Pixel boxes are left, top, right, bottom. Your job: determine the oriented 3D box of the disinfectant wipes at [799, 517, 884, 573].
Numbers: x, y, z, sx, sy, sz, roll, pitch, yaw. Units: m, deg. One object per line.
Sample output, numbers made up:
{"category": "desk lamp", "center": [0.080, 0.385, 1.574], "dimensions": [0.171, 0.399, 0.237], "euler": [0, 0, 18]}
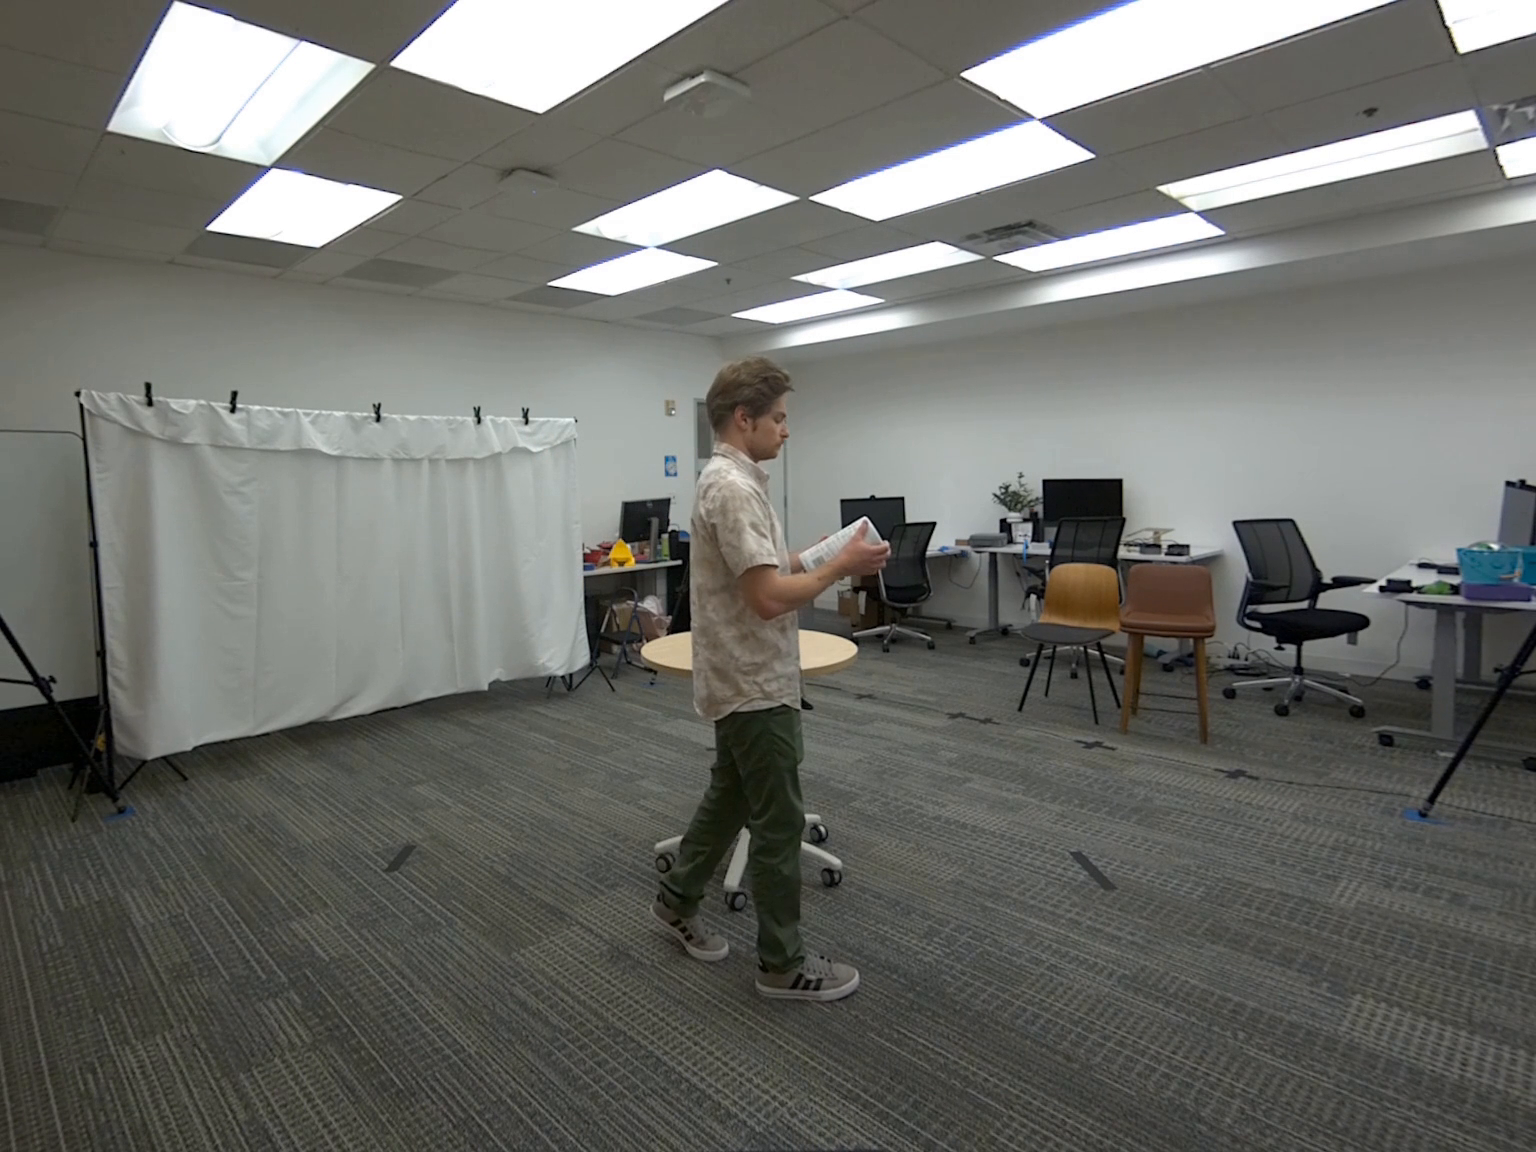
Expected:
{"category": "disinfectant wipes", "center": [0.203, -0.065, 2.314], "dimensions": [0.218, 0.117, 0.118], "euler": [-30, 3, 4]}
